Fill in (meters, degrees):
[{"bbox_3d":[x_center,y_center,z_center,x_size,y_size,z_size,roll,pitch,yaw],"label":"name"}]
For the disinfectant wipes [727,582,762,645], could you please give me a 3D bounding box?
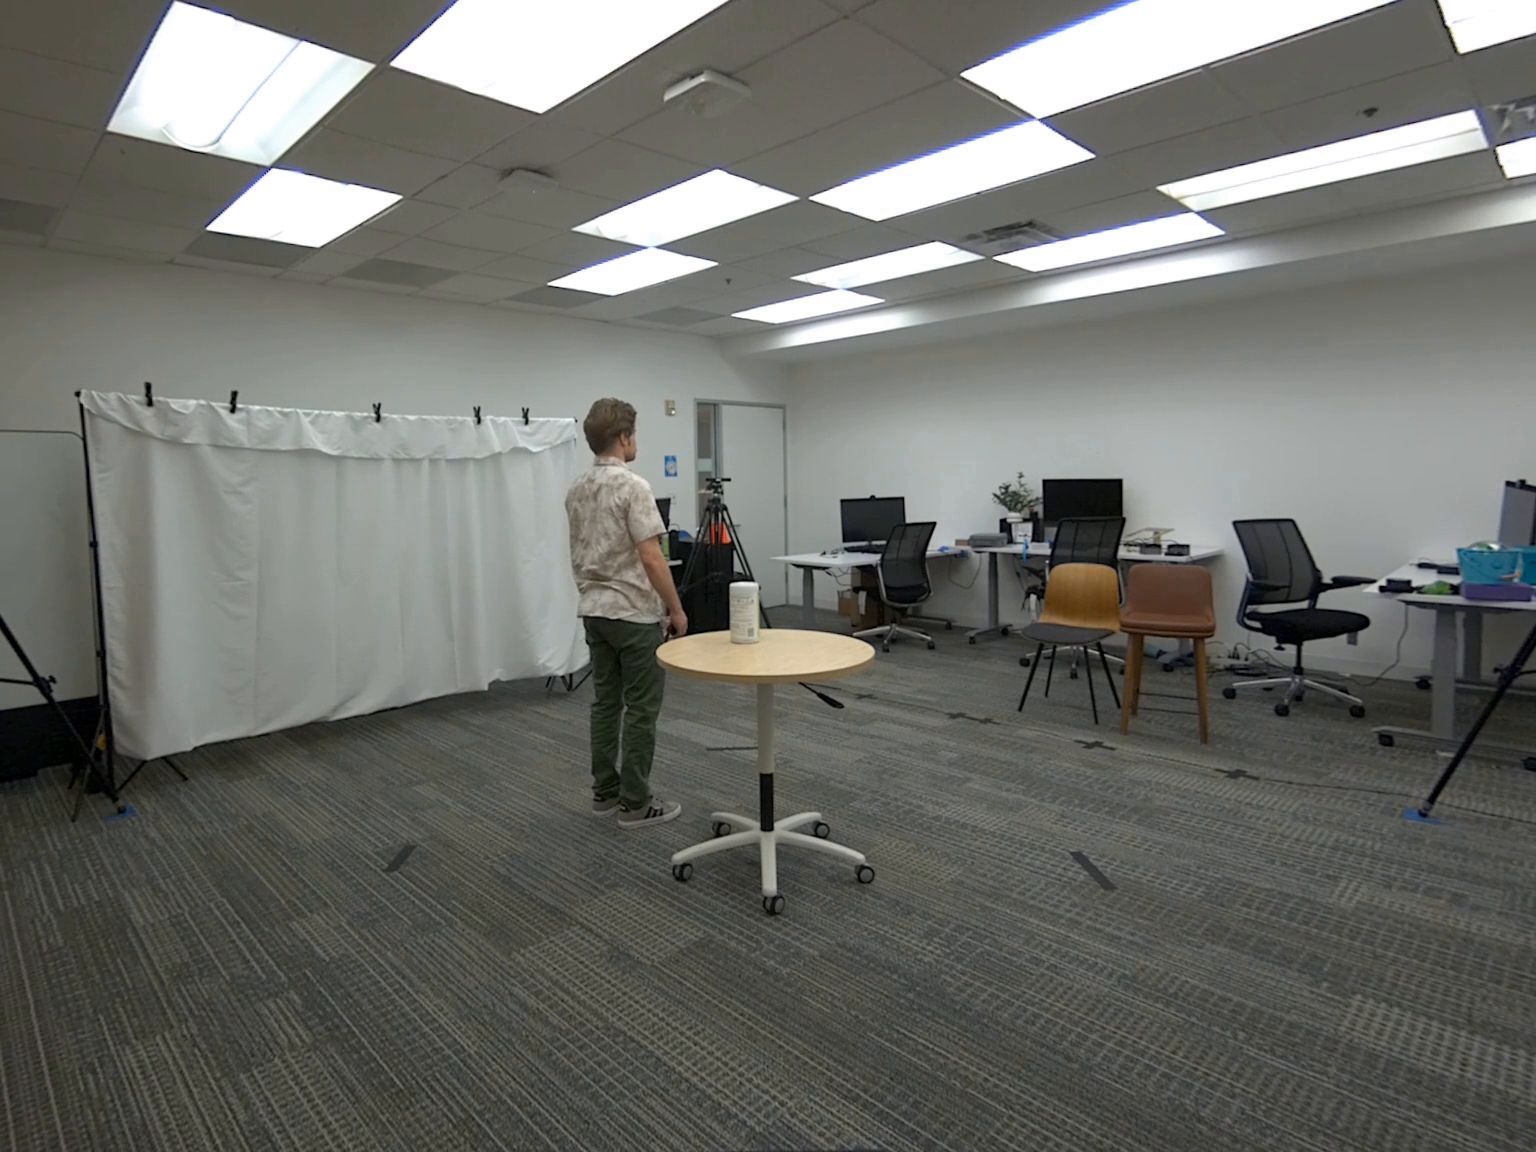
[{"bbox_3d":[-0.089,0.133,3.153,0.118,0.217,0.118,0,1,-2],"label":"disinfectant wipes"}]
